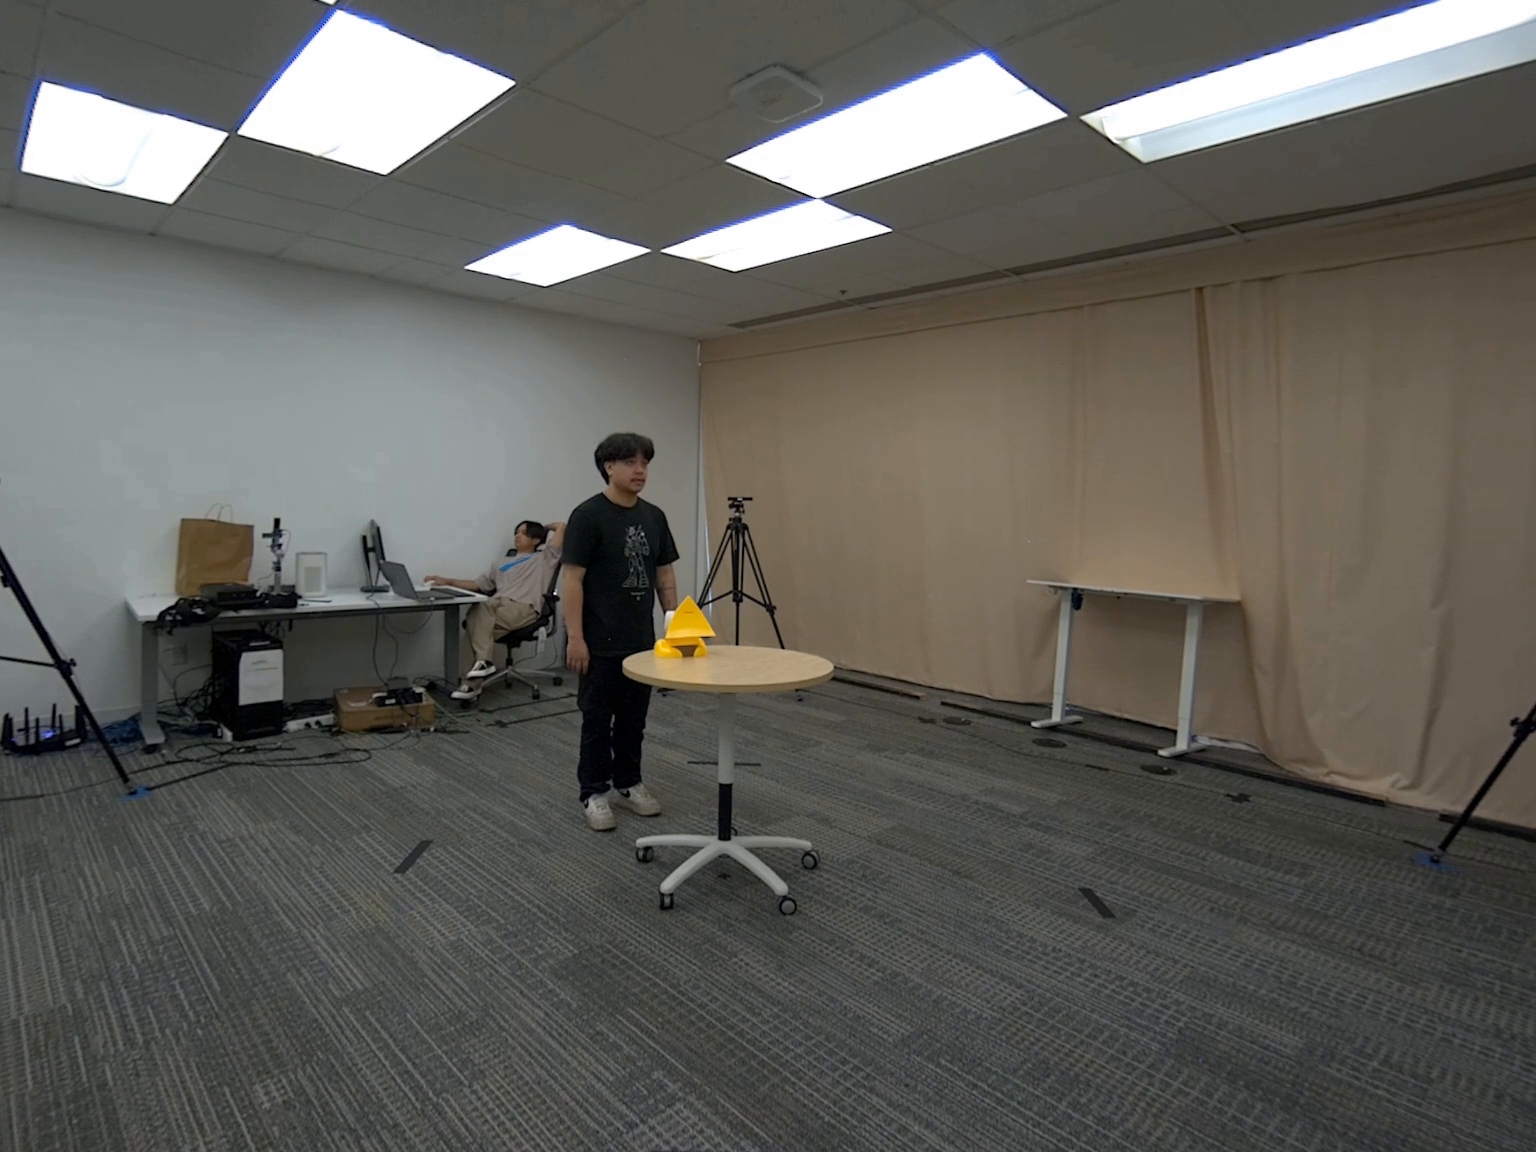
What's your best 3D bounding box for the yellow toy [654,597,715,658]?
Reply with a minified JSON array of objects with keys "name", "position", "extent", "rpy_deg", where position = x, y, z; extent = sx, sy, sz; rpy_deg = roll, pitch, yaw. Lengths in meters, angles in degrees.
[{"name":"yellow toy","position":[-0.341,0.187,3.227],"extent":[0.201,0.230,0.197],"rpy_deg":[-1,4,-29]}]
